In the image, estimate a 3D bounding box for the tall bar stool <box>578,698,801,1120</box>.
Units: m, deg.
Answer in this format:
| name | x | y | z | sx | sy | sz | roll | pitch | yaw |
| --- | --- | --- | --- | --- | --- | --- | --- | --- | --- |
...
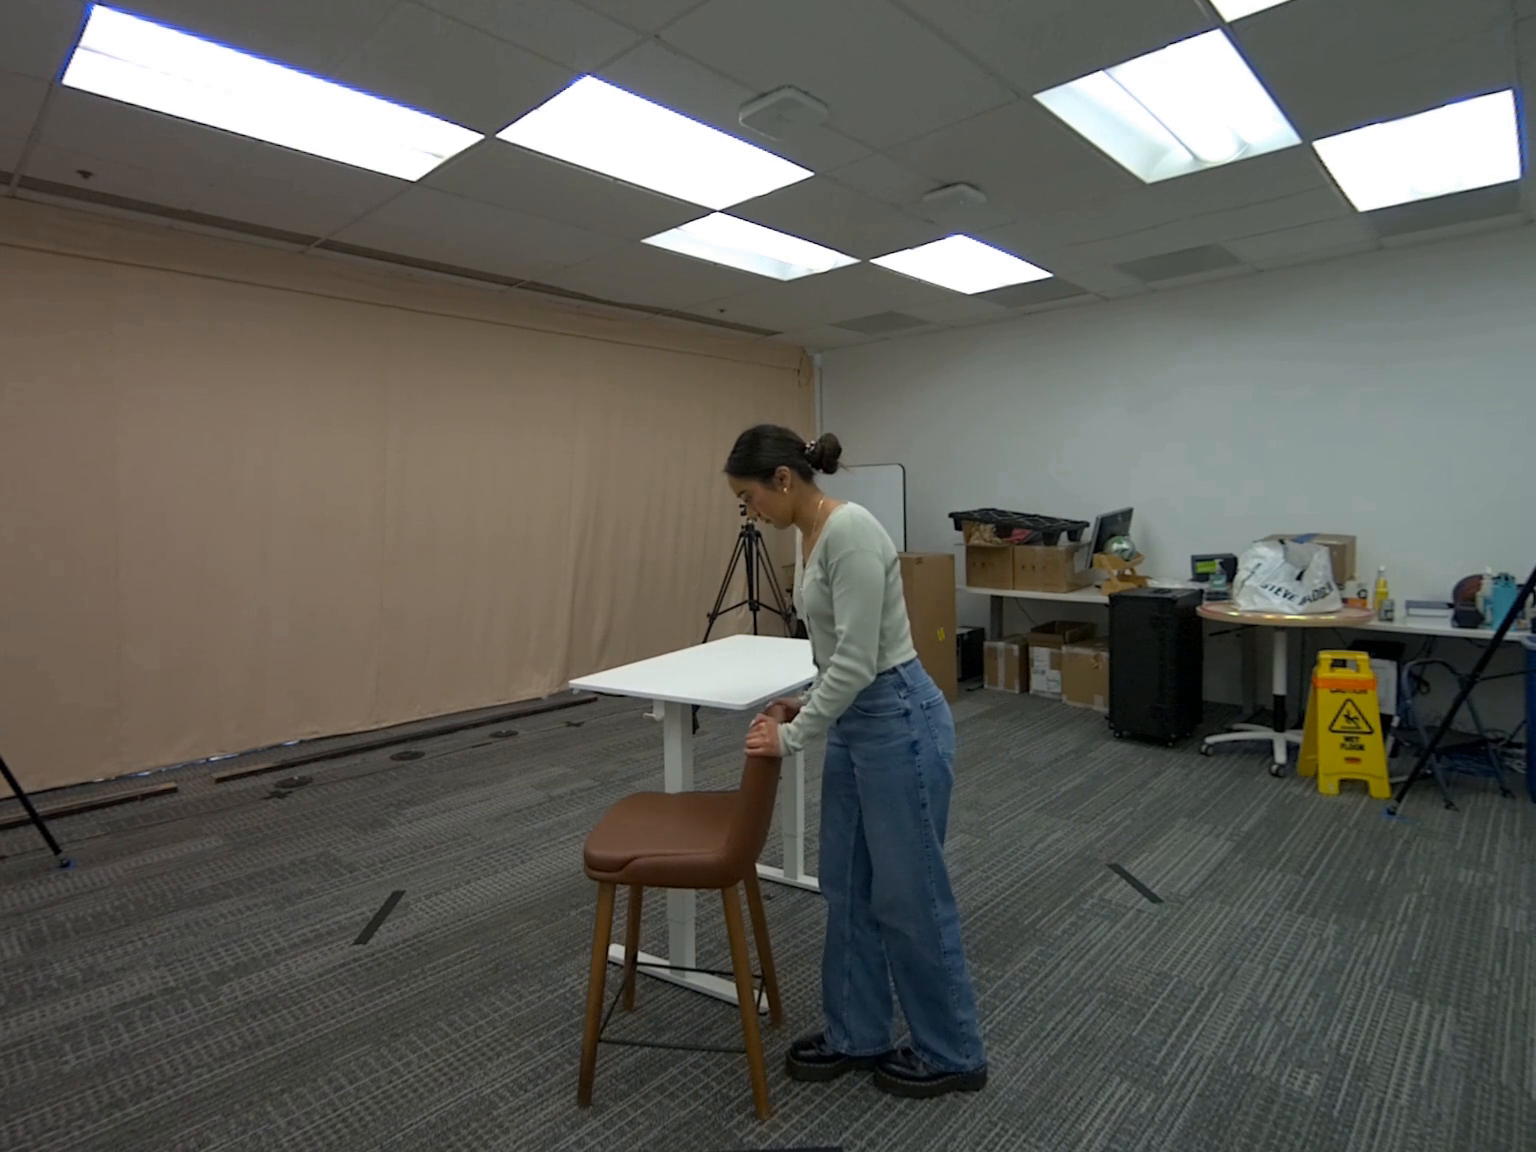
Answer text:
| name | x | y | z | sx | sy | sz | roll | pitch | yaw |
| --- | --- | --- | --- | --- | --- | --- | --- | --- | --- |
| tall bar stool | -0.197 | 0.785 | 2.088 | 0.472 | 0.888 | 0.453 | 2 | 4 | 7 |
